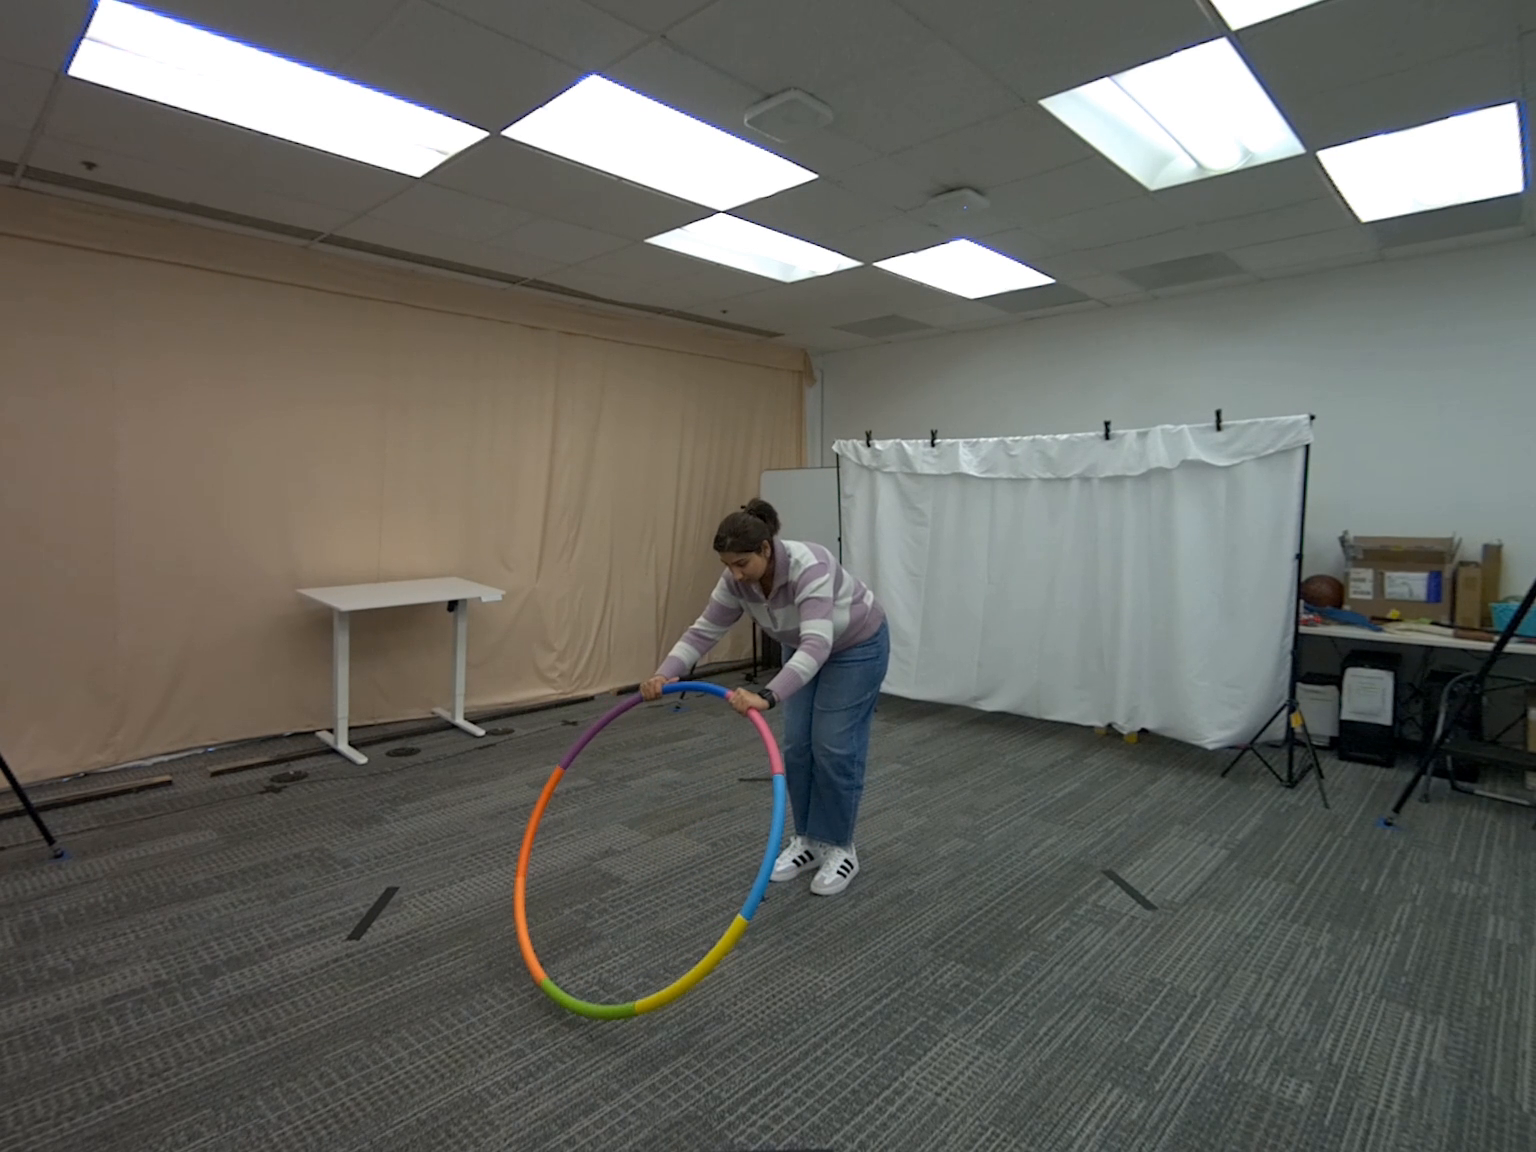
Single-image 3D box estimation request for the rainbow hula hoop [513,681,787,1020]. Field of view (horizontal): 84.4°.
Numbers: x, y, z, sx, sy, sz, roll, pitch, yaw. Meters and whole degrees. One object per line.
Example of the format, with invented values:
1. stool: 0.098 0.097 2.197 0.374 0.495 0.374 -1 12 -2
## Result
1. rainbow hula hoop: -0.368 0.751 2.471 1.011 0.980 0.034 4 -31 43
